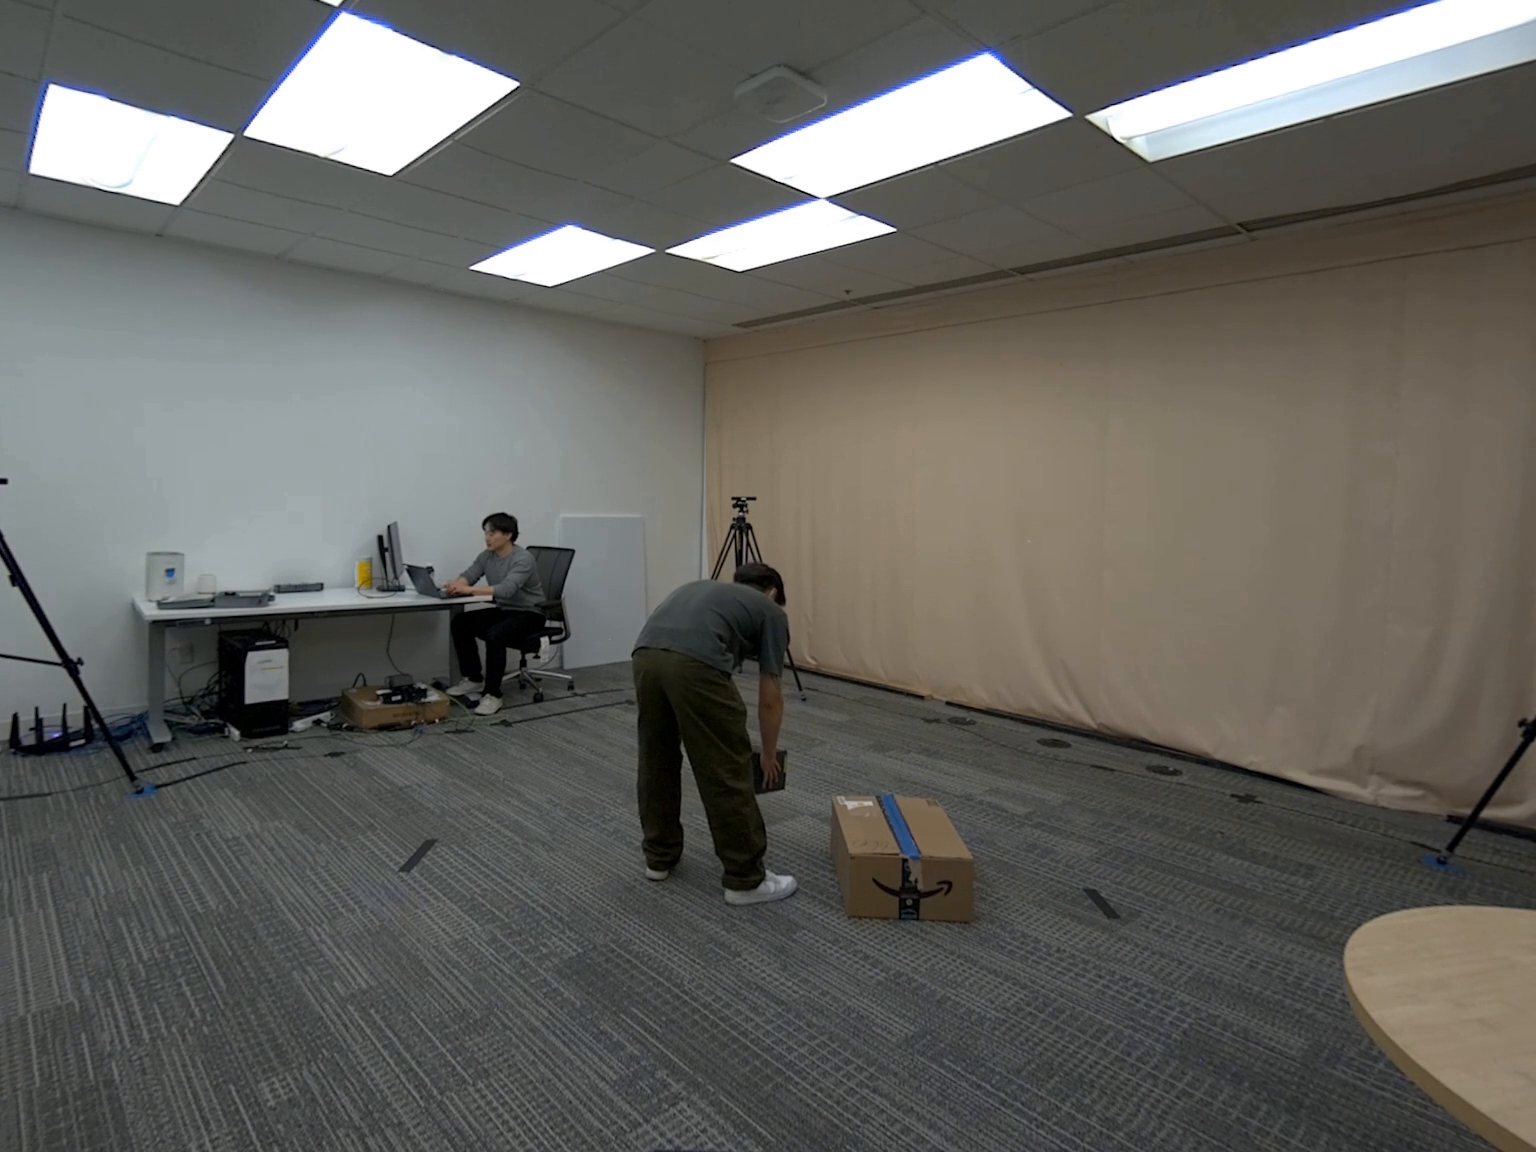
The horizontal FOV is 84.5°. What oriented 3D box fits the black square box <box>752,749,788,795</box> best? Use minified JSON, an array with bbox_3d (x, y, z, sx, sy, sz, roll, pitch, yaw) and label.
[{"bbox_3d":[-0.076,0.765,3.341,0.232,0.157,0.211,0,-7,30],"label":"black square box"}]
